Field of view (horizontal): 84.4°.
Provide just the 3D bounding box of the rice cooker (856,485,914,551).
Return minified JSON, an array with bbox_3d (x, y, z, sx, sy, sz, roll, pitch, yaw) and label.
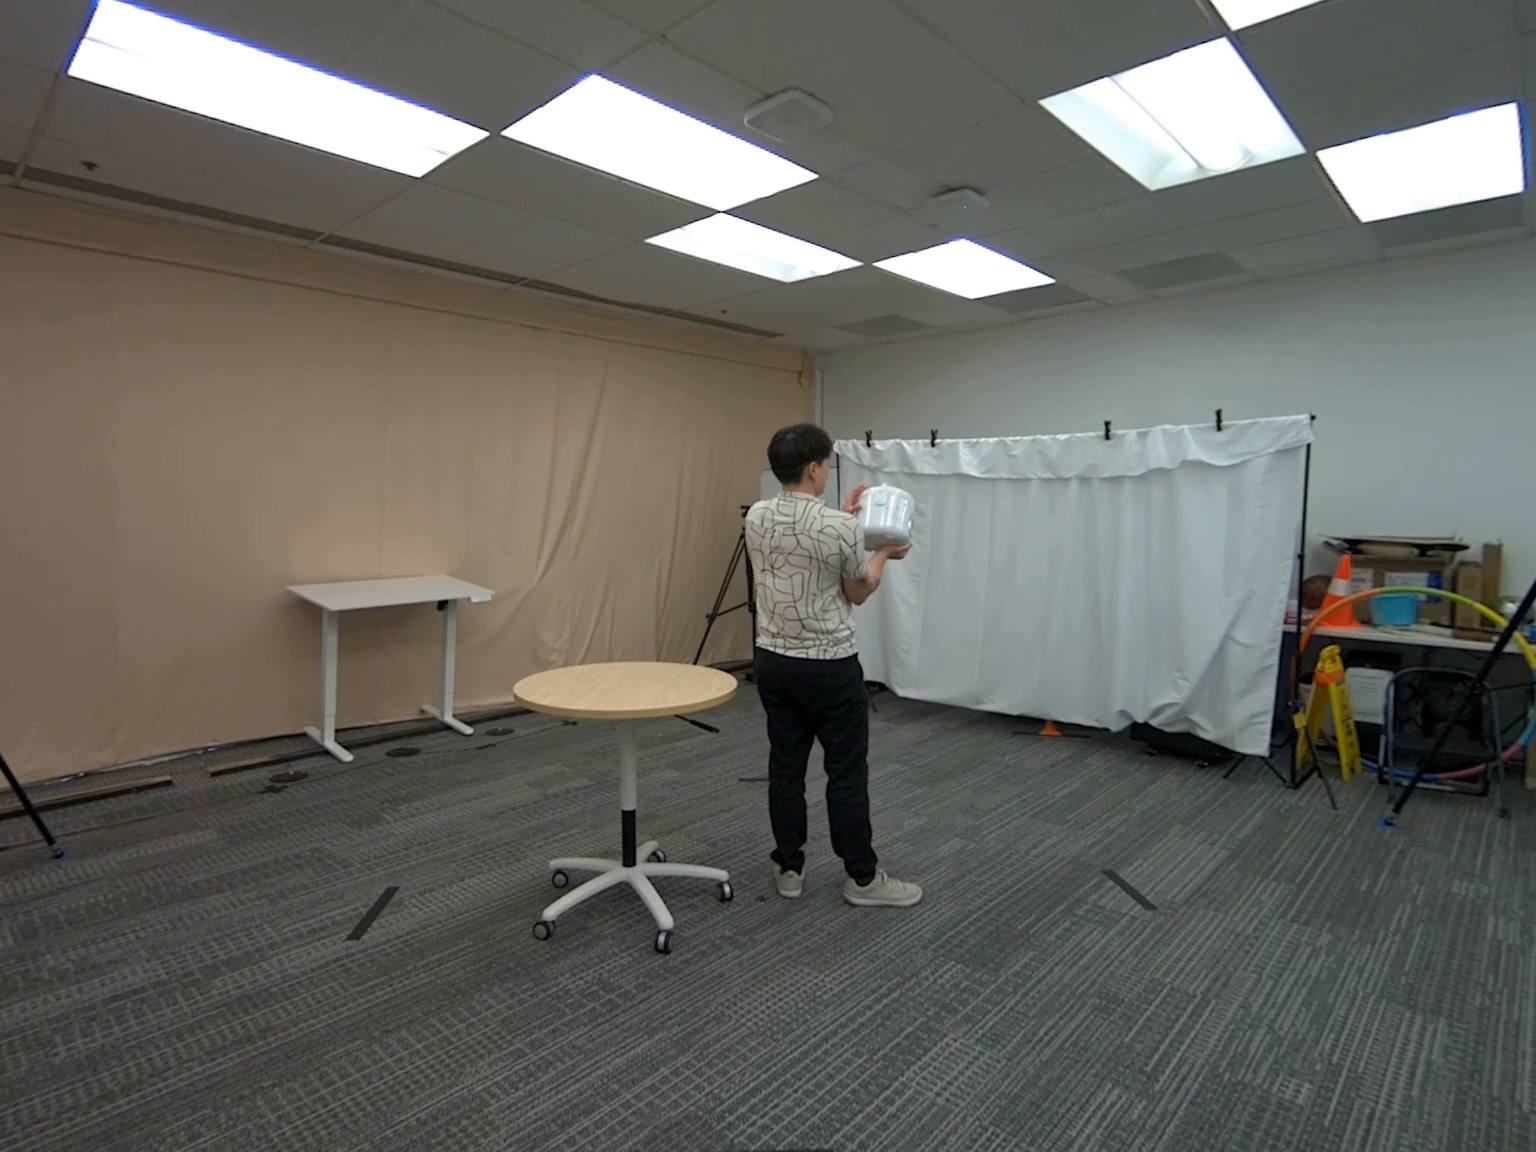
[{"bbox_3d":[0.448,-0.222,3.174,0.222,0.235,0.214,1,-22,22],"label":"rice cooker"}]
